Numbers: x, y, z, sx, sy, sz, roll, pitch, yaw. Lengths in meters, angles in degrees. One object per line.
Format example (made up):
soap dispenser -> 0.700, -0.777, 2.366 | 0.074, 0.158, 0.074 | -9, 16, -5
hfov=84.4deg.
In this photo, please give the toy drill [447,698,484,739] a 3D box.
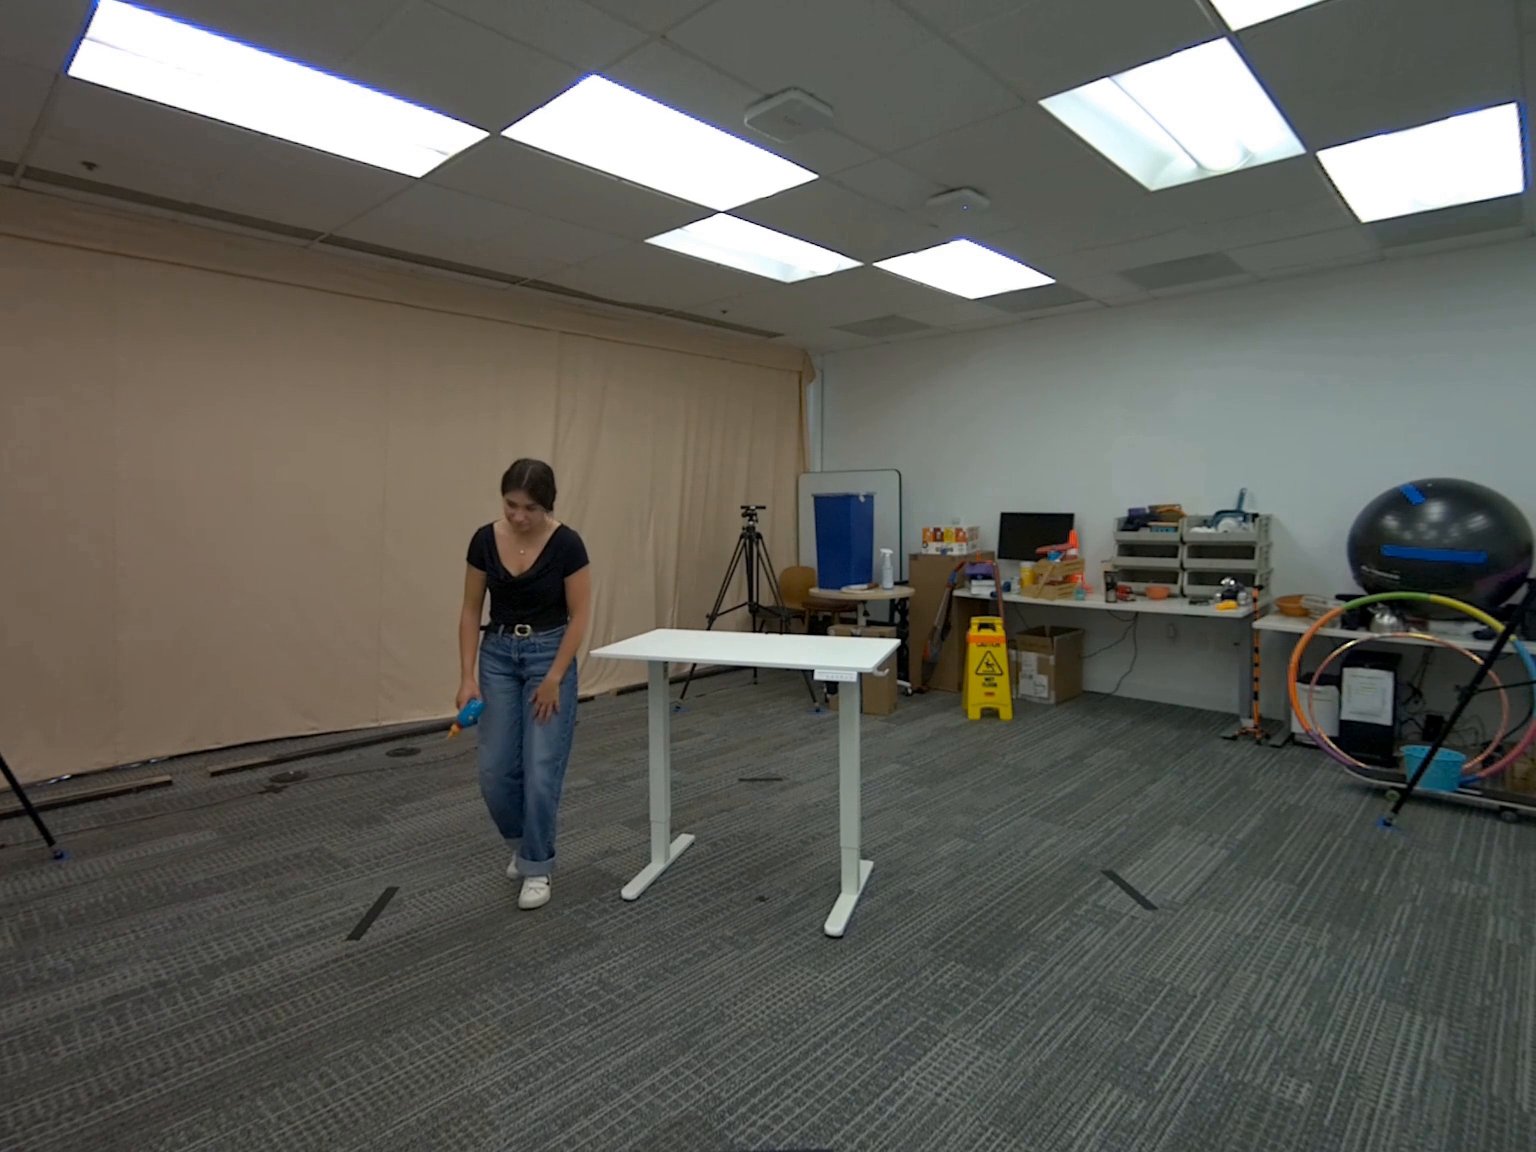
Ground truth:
toy drill -> -1.034, 0.486, 2.895 | 0.059, 0.170, 0.150 | 40, -4, -24
